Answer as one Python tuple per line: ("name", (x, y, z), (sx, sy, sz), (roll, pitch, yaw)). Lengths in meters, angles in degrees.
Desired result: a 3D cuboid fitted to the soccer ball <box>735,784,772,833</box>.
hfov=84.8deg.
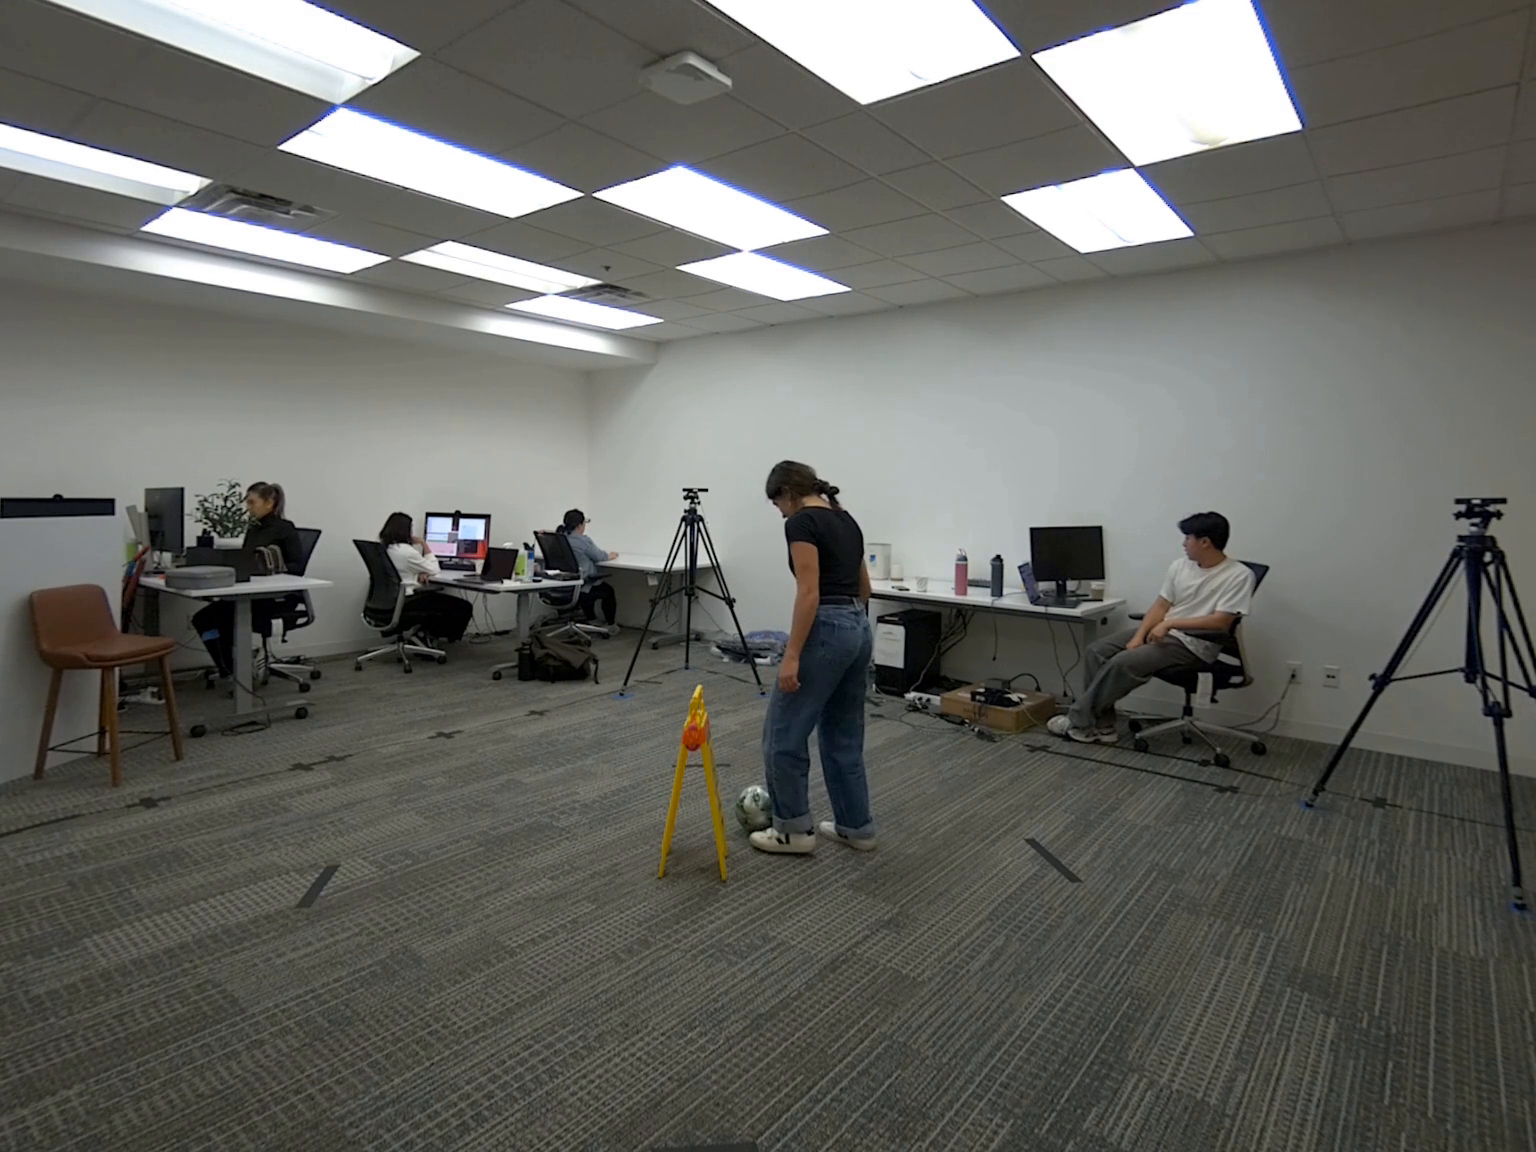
("soccer ball", (-0.041, 0.936, 3.471), (0.187, 0.187, 0.188), (1, 4, -2))
